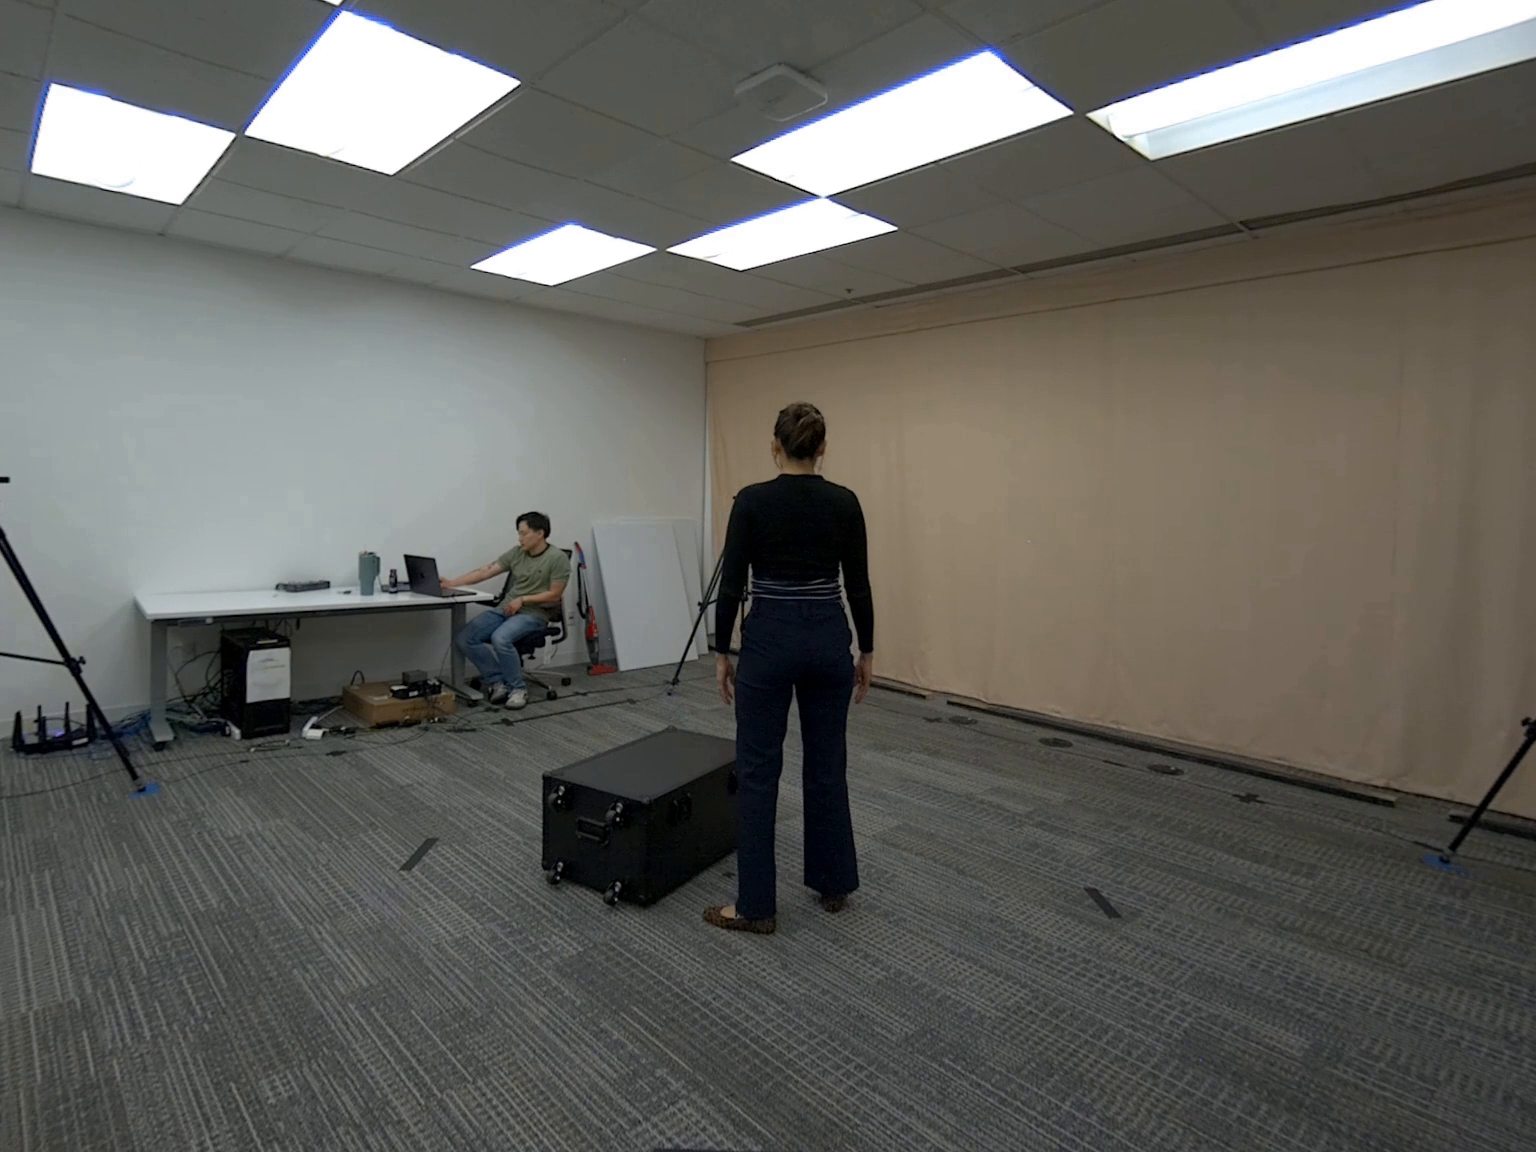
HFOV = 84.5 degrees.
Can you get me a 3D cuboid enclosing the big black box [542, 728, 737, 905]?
[{"bbox_3d":[-0.443,0.894,3.232,0.533,0.395,0.845,5,6,30],"label":"big black box"}]
